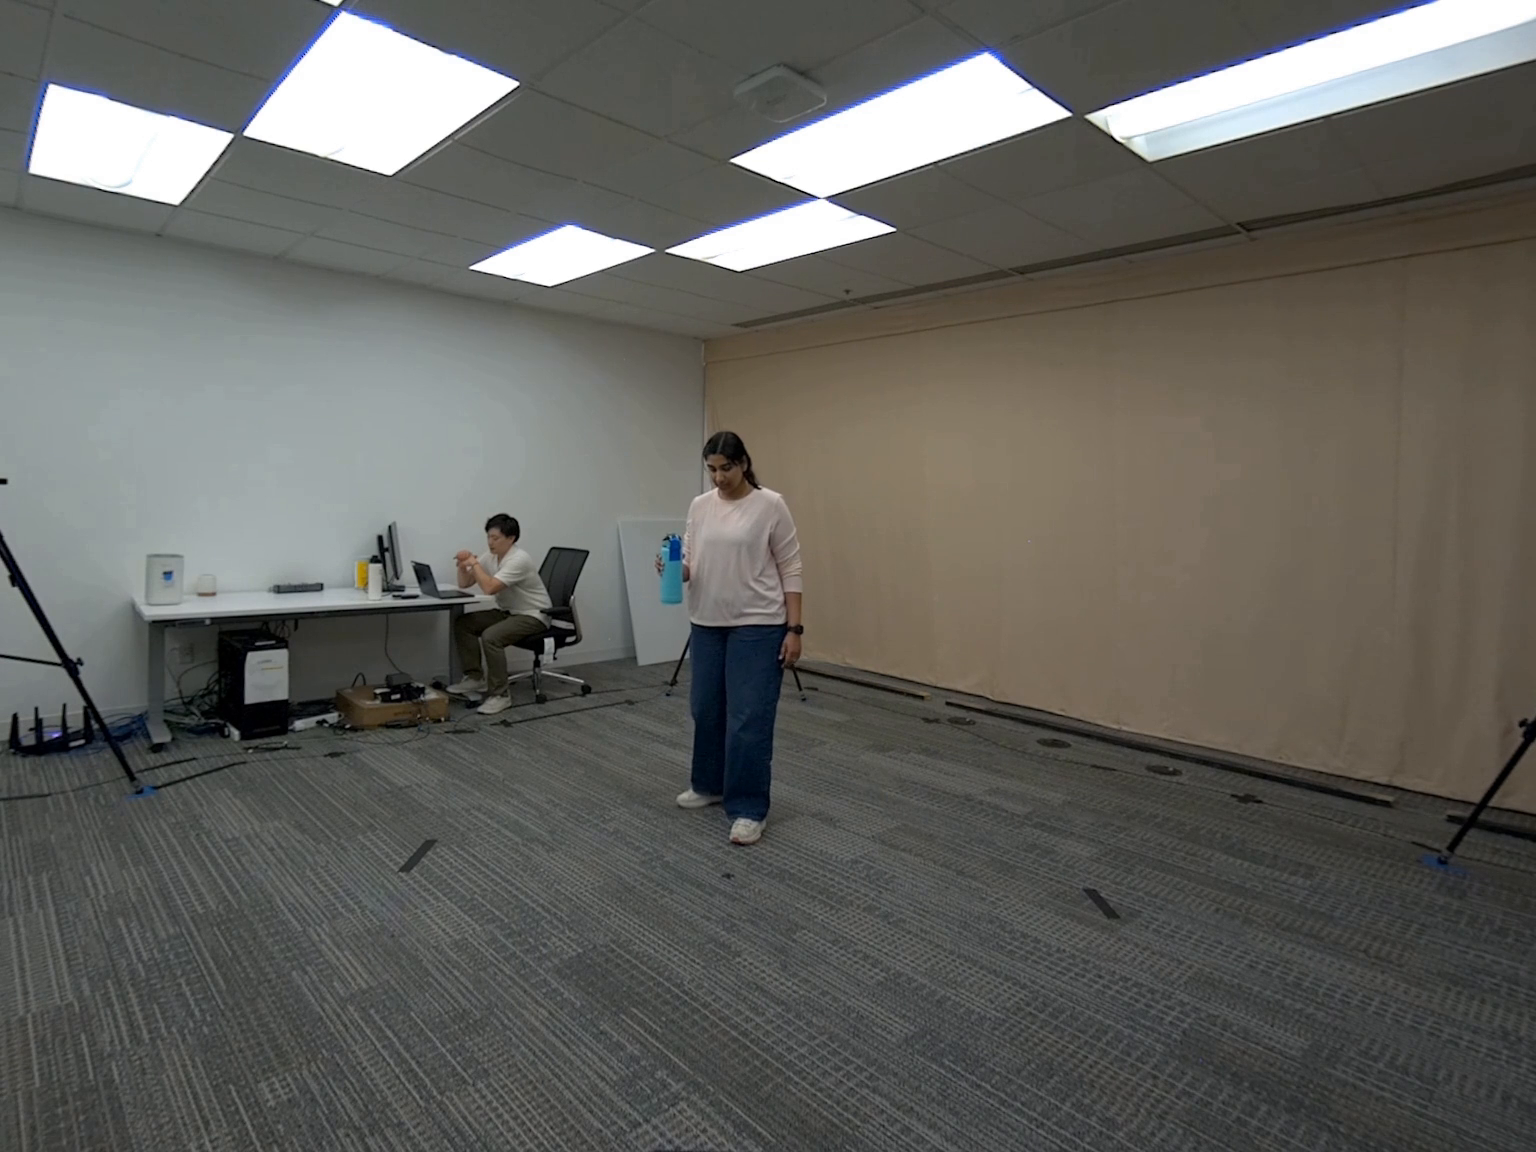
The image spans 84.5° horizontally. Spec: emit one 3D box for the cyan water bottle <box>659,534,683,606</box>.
[{"bbox_3d":[-0.402,-0.033,3.387,0.092,0.282,0.093,2,6,-2],"label":"cyan water bottle"}]
